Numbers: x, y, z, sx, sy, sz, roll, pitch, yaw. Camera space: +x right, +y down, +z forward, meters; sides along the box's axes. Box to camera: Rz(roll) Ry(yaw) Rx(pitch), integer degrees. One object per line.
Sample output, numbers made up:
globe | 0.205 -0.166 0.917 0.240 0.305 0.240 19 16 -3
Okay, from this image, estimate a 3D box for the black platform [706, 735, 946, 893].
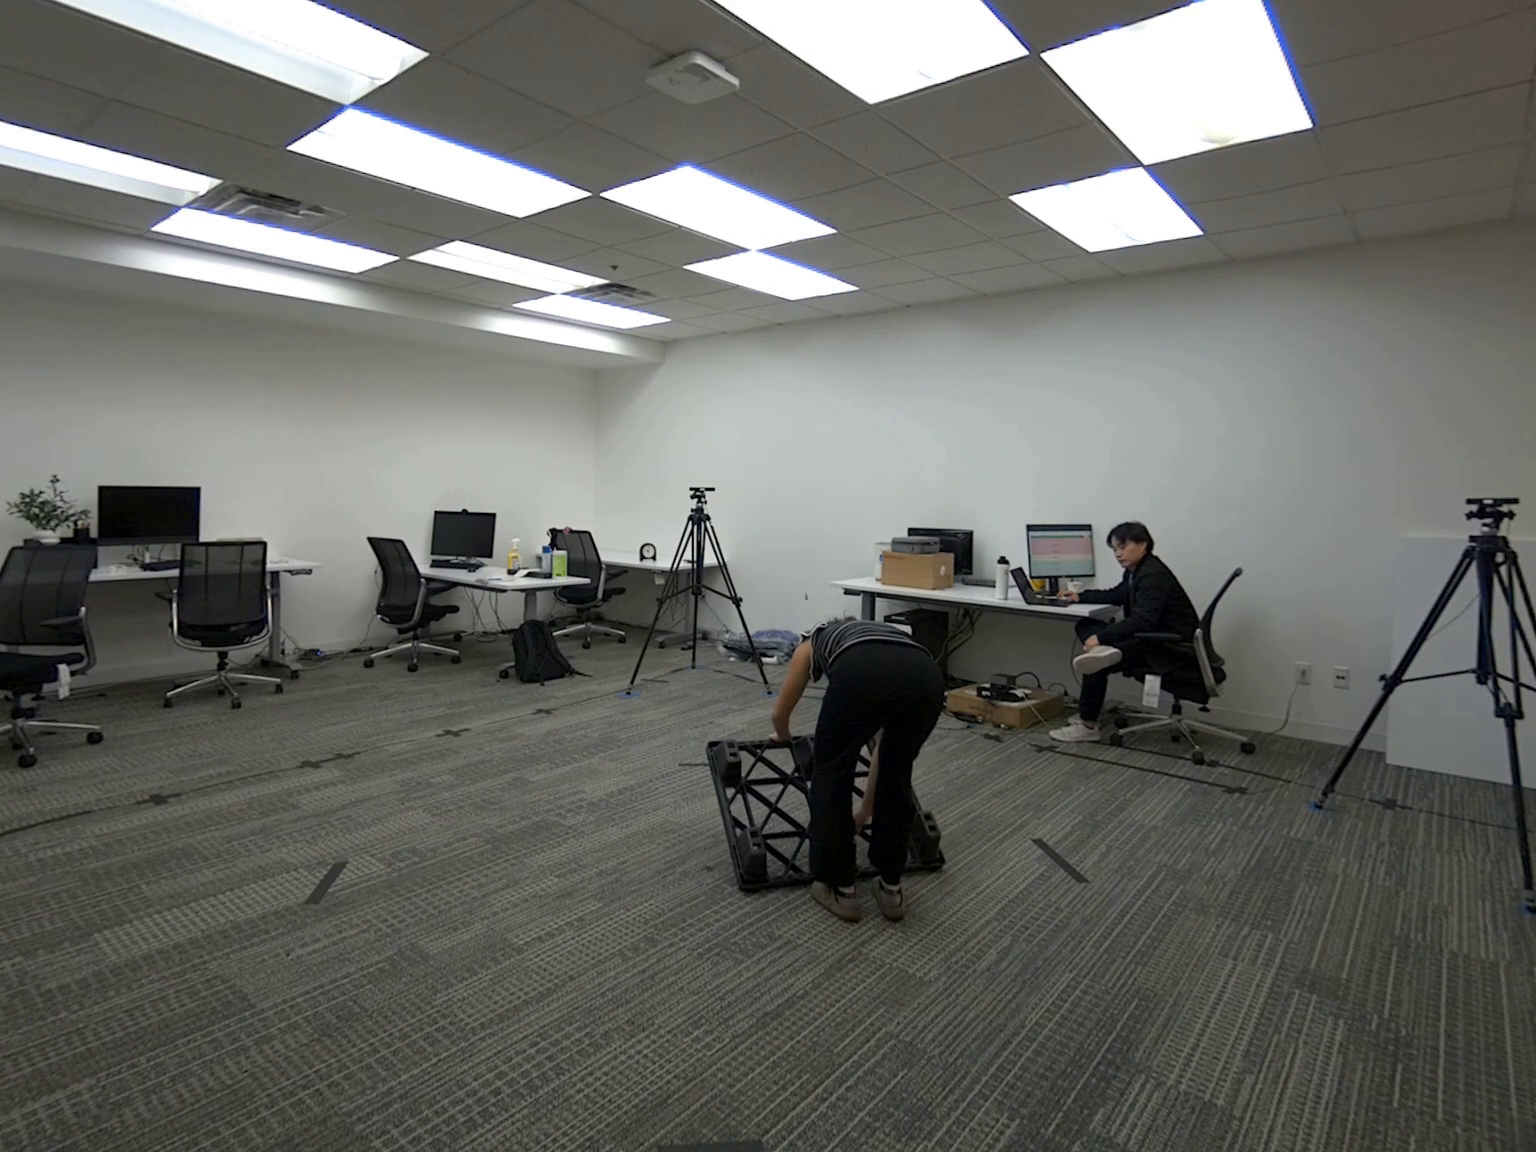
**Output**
black platform | 0.206 0.827 3.217 0.791 0.140 0.628 -1 42 -18
